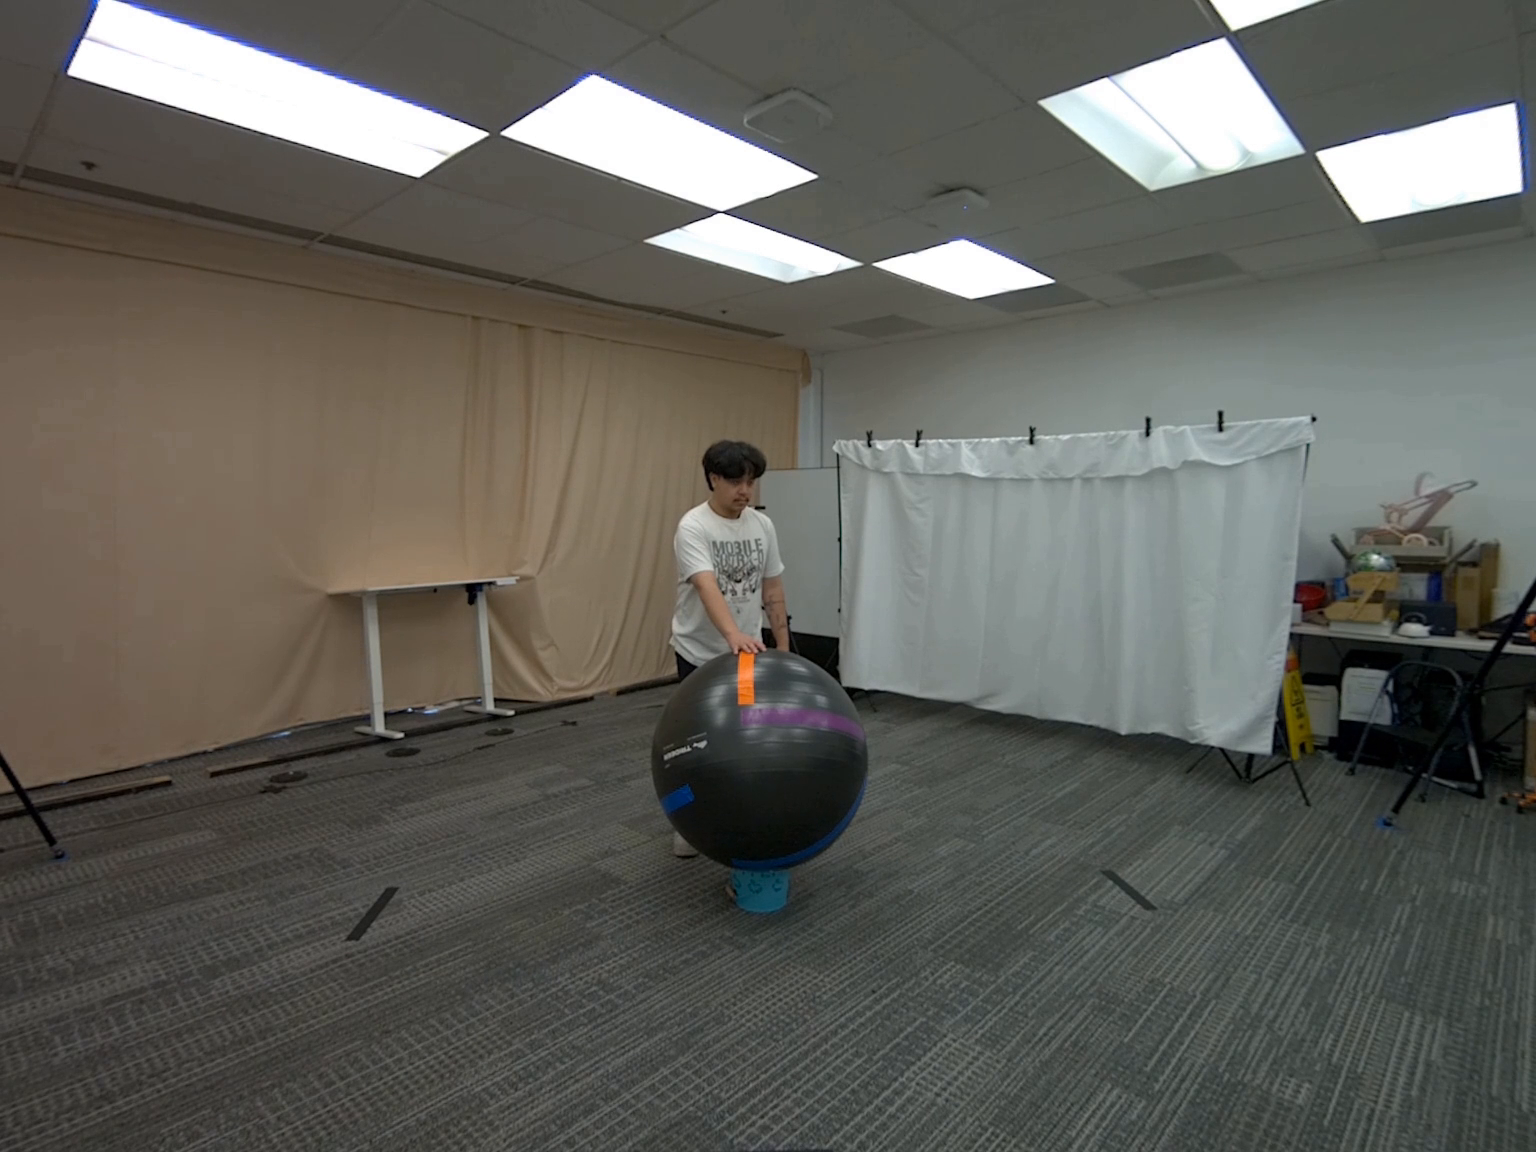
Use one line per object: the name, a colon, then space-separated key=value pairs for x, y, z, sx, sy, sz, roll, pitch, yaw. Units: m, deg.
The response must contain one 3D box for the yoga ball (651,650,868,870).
yoga ball: x=-0.034 y=0.639 z=2.949 sx=0.757 sy=0.756 sz=0.761 roll=0 pitch=4 yaw=-2
